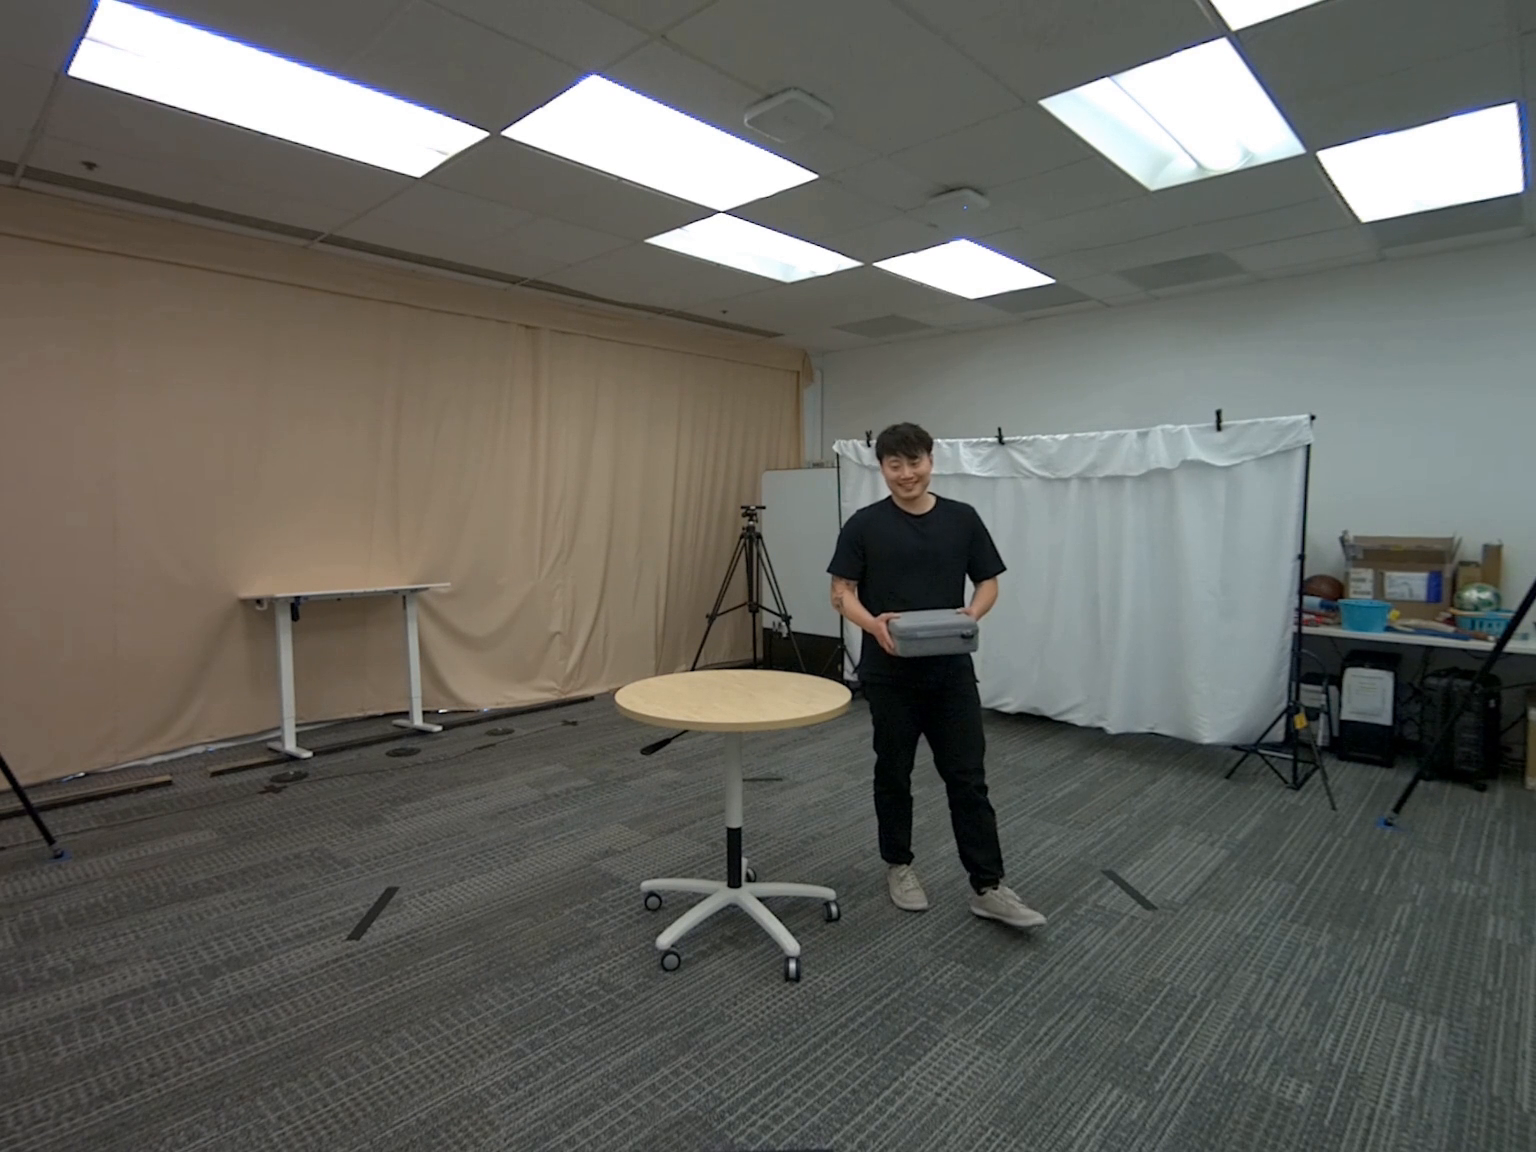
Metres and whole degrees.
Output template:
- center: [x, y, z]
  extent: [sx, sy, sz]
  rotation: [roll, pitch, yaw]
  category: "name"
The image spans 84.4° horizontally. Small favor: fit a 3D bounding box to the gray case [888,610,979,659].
- center: [0.544, 0.179, 2.687]
  extent: [0.257, 0.104, 0.261]
  rotation: [-4, 7, 1]
  category: "gray case"
